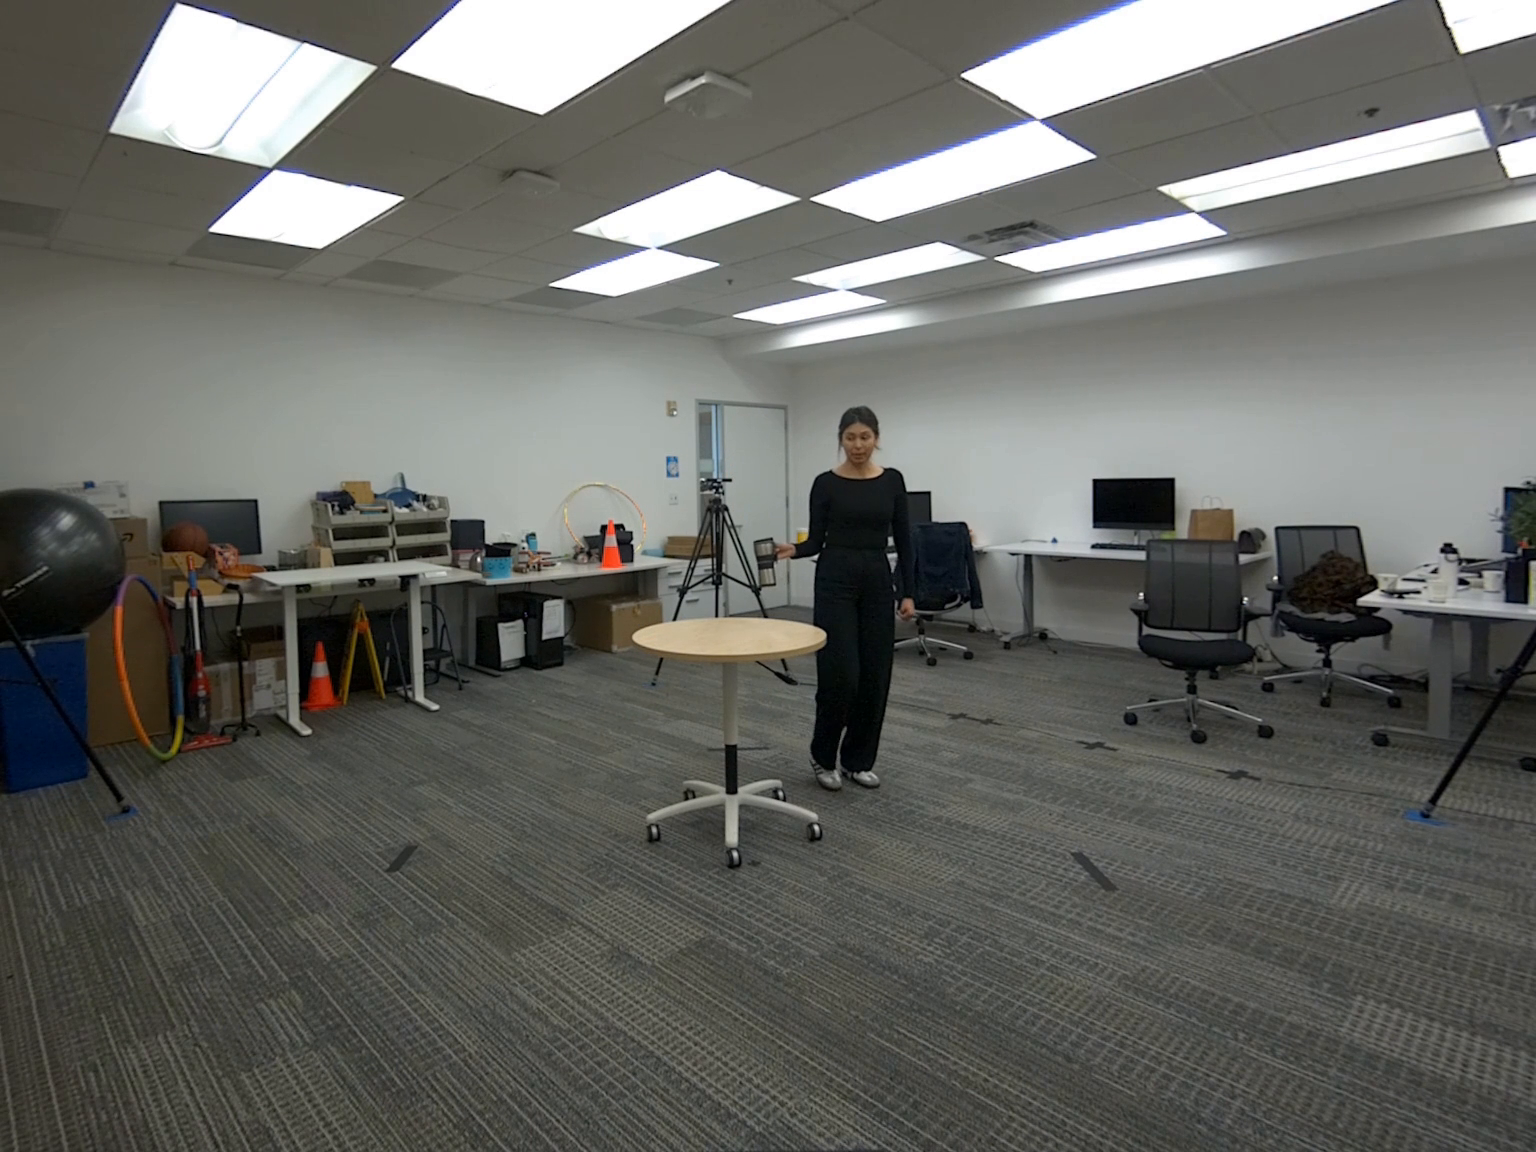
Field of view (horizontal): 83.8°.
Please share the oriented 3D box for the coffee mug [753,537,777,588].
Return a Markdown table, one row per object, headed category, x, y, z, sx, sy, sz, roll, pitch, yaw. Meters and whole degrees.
| category | x | y | z | sx | sy | sz | roll | pitch | yaw |
| --- | --- | --- | --- | --- | --- | --- | --- | --- | --- |
| coffee mug | 0.008 | -0.060 | 3.608 | 0.119 | 0.203 | 0.089 | -9 | -3 | -27 |
